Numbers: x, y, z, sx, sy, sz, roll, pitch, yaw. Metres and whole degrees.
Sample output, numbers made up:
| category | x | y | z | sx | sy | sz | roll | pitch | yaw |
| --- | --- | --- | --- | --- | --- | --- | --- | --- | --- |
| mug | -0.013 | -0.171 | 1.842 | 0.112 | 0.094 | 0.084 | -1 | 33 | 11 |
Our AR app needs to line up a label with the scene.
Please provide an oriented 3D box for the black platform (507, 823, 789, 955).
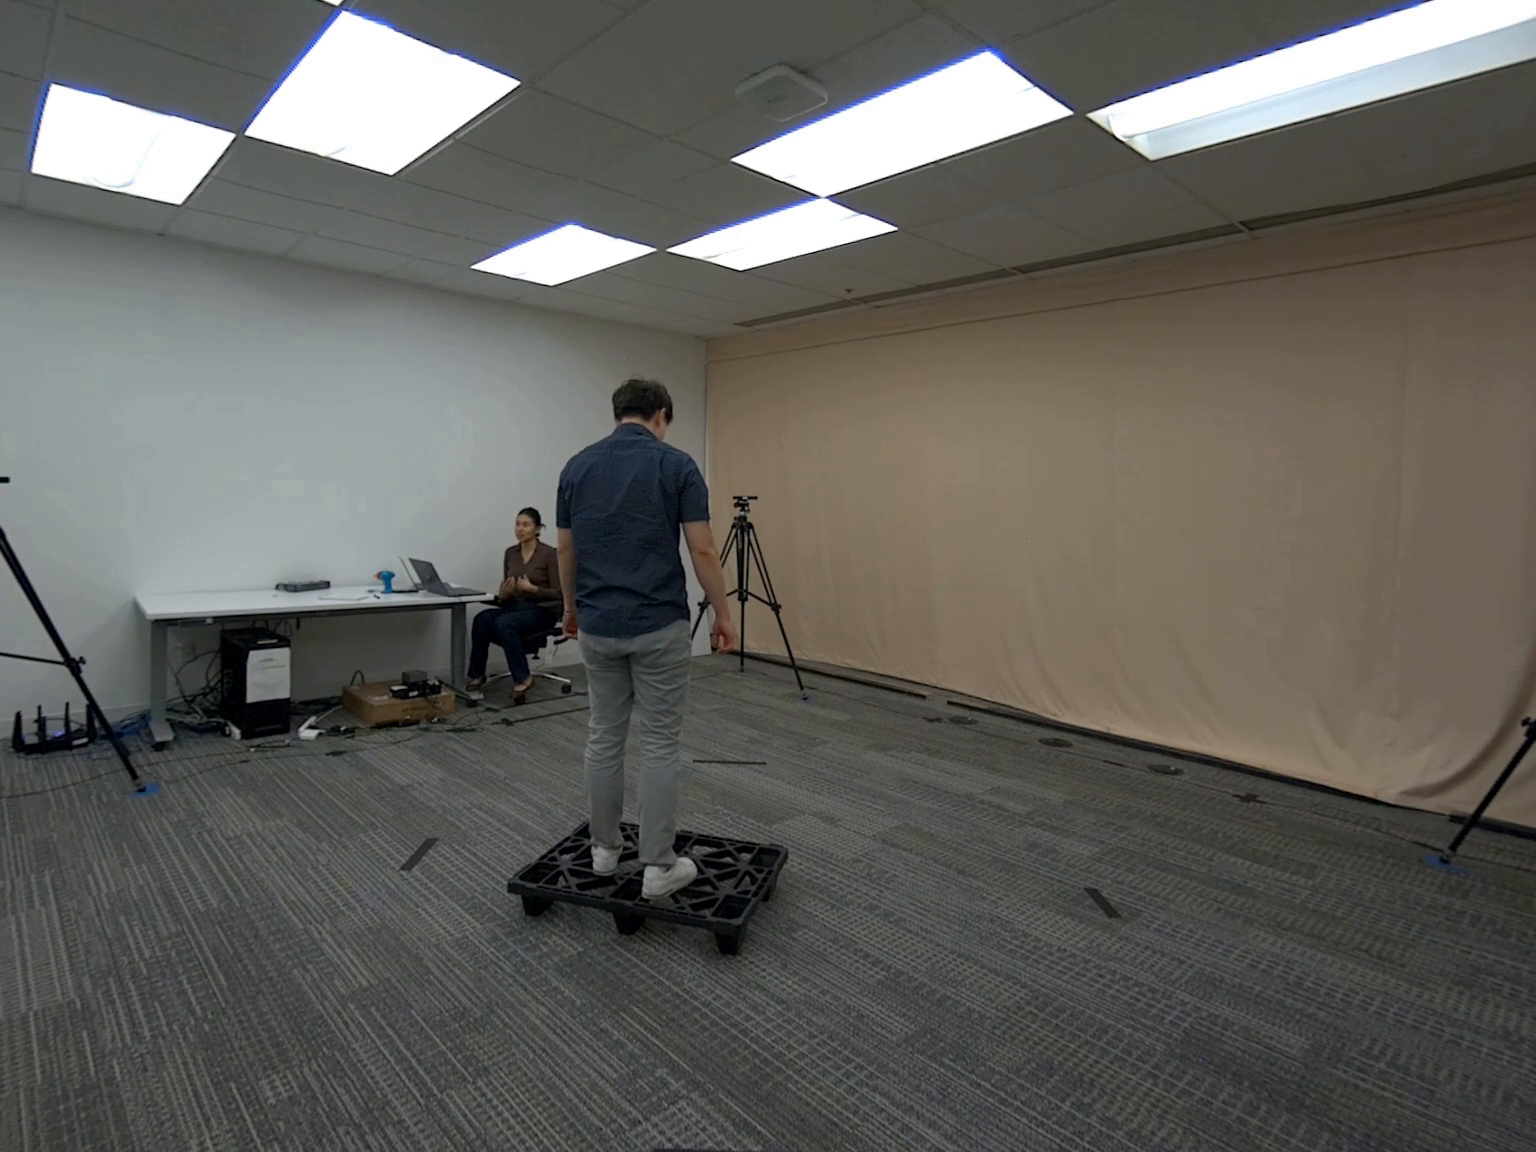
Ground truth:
| category | x | y | z | sx | sy | sz | roll | pitch | yaw |
| --- | --- | --- | --- | --- | --- | --- | --- | --- | --- |
| black platform | -0.388 | 1.052 | 2.878 | 0.817 | 0.143 | 0.598 | 3 | 6 | 17 |
